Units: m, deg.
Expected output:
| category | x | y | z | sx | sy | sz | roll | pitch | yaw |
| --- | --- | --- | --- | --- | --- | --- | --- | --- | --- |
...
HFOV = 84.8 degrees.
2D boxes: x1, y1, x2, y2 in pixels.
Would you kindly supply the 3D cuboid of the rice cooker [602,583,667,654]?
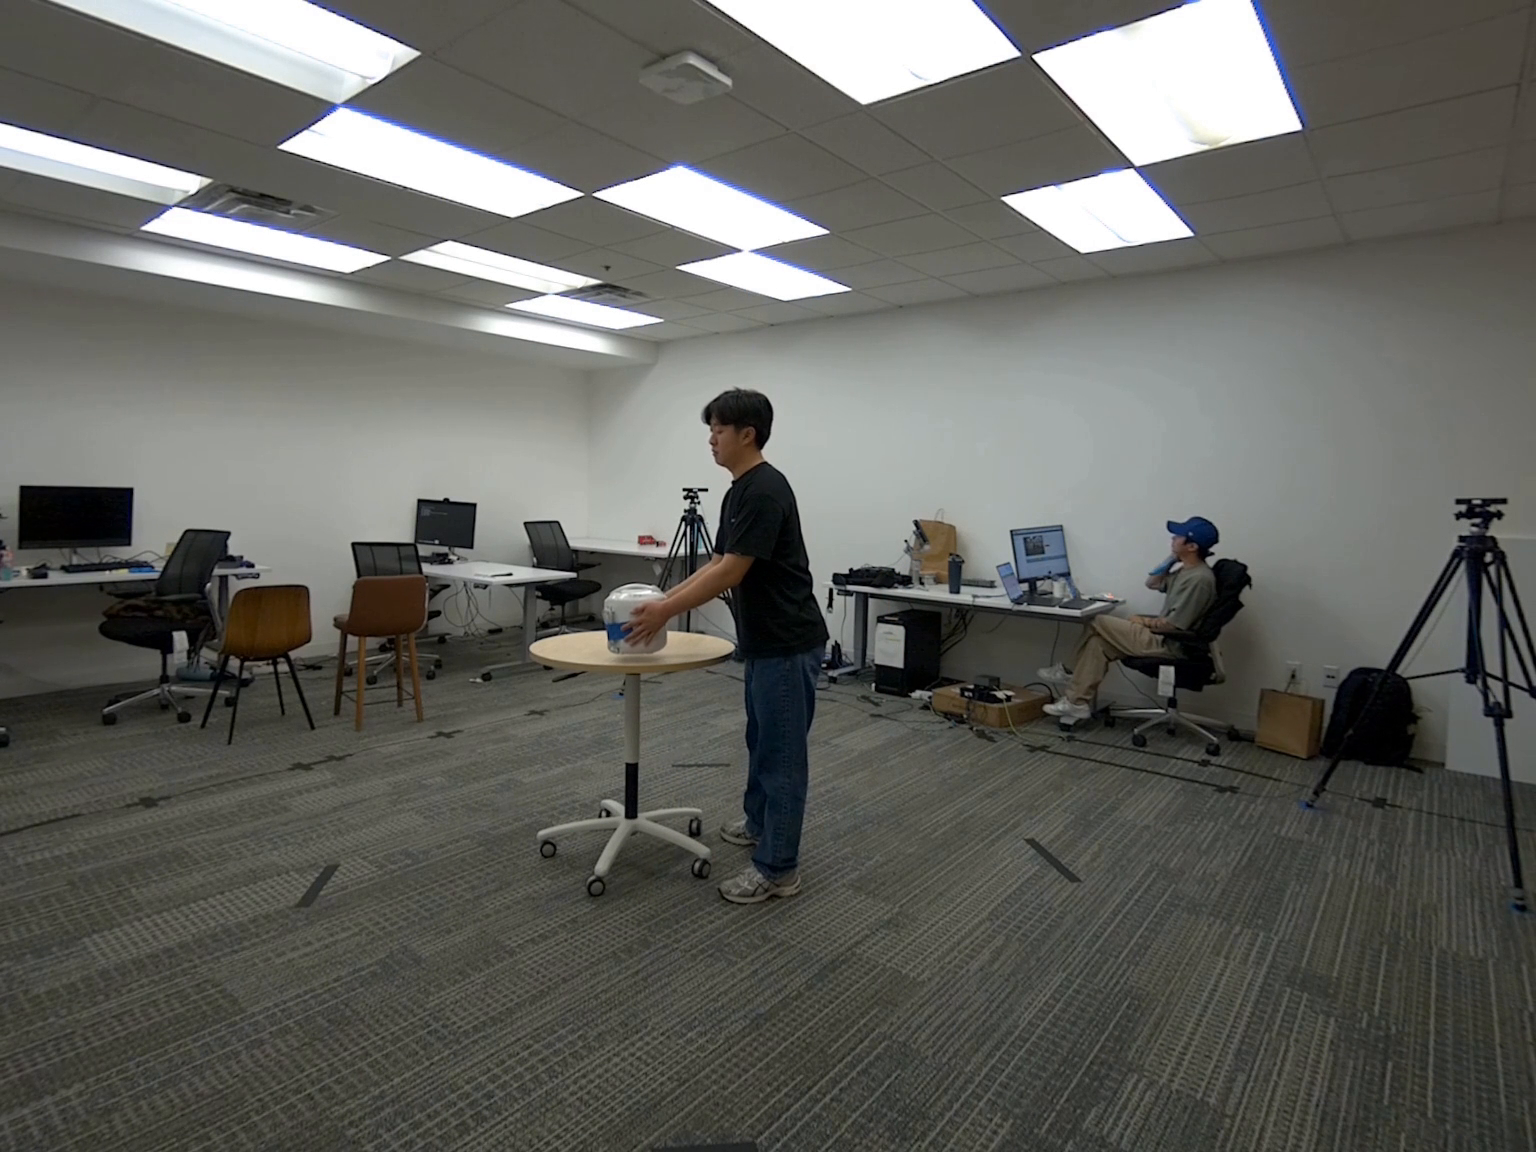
| category | x | y | z | sx | sy | sz | roll | pitch | yaw |
| --- | --- | --- | --- | --- | --- | --- | --- | --- | --- |
| rice cooker | -0.468 | 0.139 | 2.949 | 0.220 | 0.232 | 0.218 | -1 | 2 | -2 |
